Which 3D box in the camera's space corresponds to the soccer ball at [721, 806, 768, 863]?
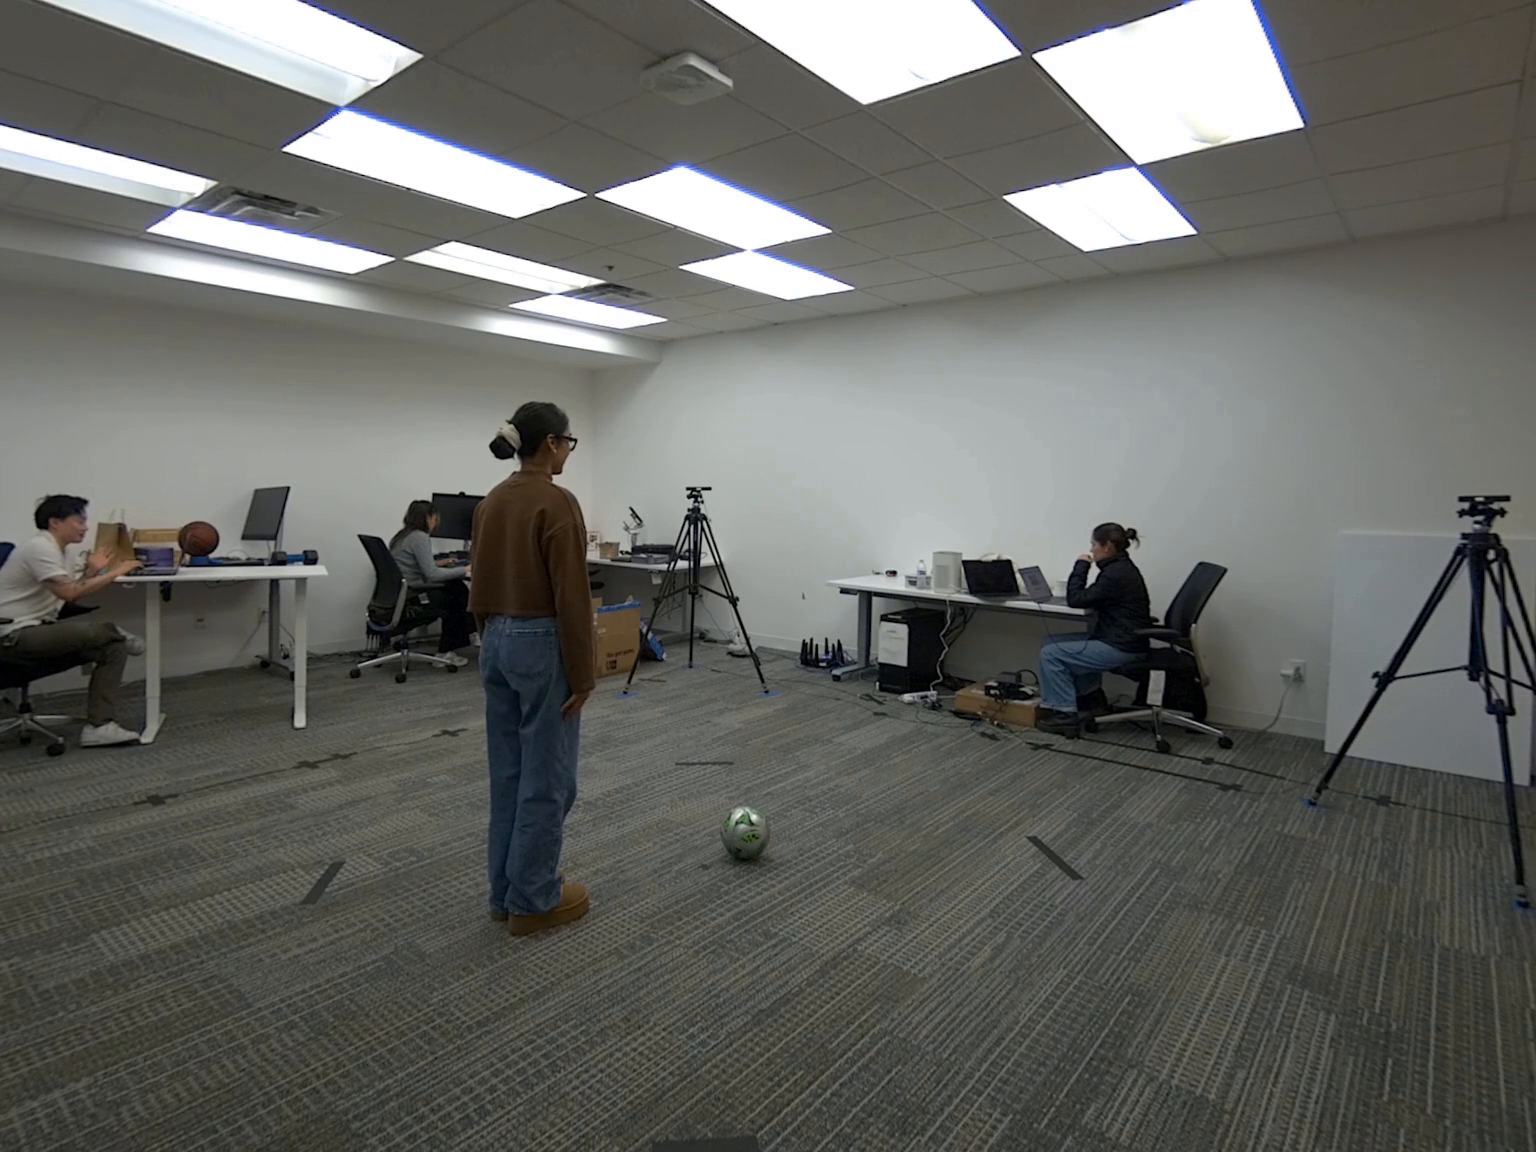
[{"bbox_3d":[-0.094,0.960,3.206,0.187,0.187,0.188,1,4,-2],"label":"soccer ball"}]
